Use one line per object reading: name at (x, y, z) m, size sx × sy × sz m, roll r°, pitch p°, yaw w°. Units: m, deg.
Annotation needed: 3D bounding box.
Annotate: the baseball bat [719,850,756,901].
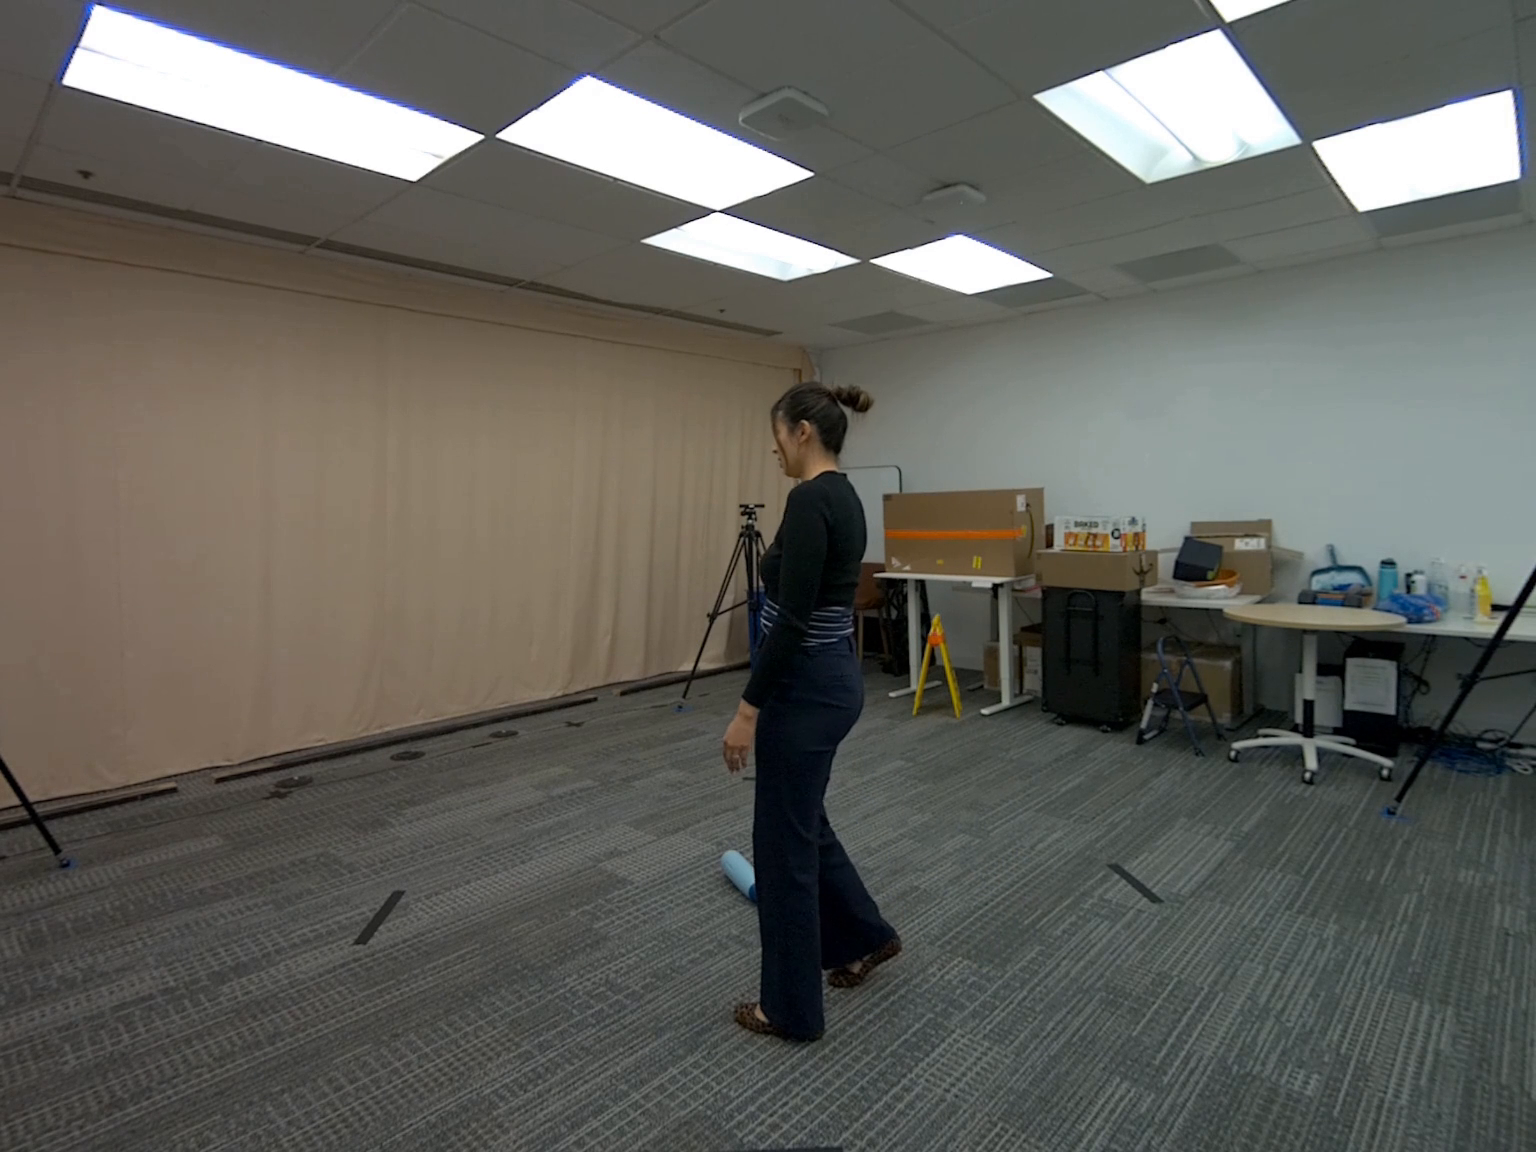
baseball bat at (-0.024, 1.112, 2.931) m, size 0.087 × 0.088 × 0.558 m, roll -3°, pitch 9°, yaw -24°
